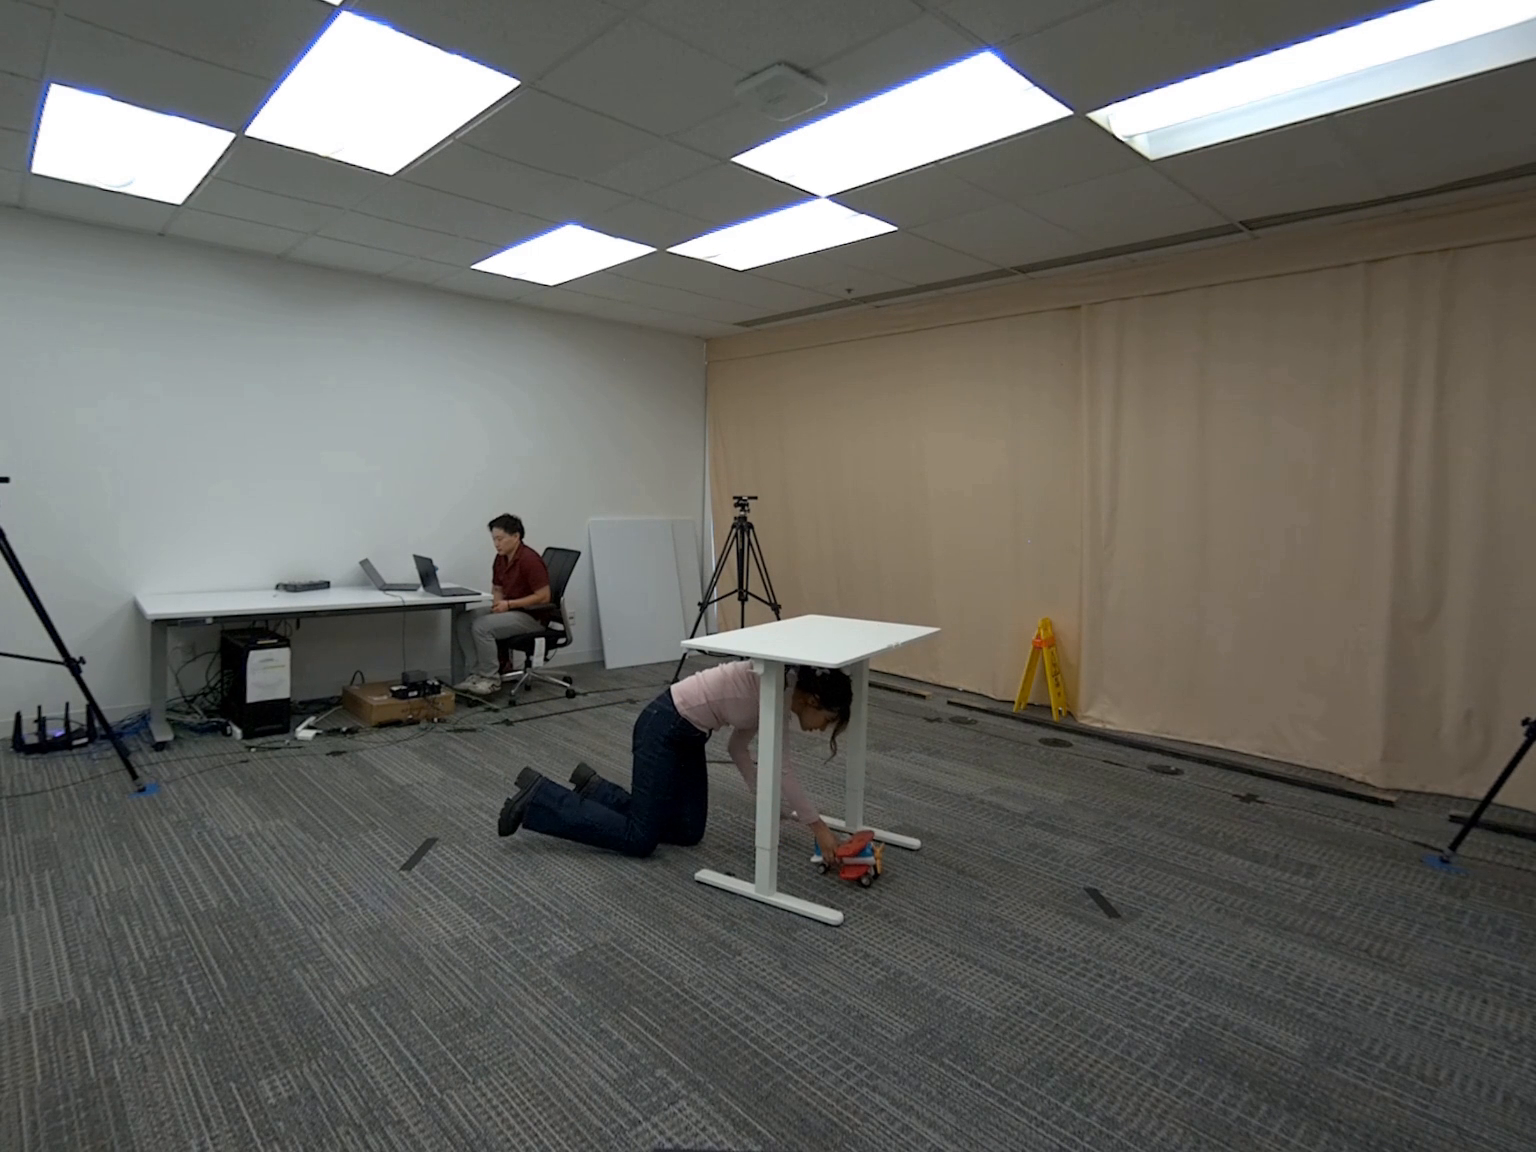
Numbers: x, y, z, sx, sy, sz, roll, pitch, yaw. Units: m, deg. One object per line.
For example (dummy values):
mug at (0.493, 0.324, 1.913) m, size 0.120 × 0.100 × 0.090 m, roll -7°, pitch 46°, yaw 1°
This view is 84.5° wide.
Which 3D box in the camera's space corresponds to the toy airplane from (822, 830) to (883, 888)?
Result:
toy airplane at (0.277, 1.042, 3.076) m, size 0.259 × 0.156 × 0.251 m, roll 3°, pitch 3°, yaw -1°
